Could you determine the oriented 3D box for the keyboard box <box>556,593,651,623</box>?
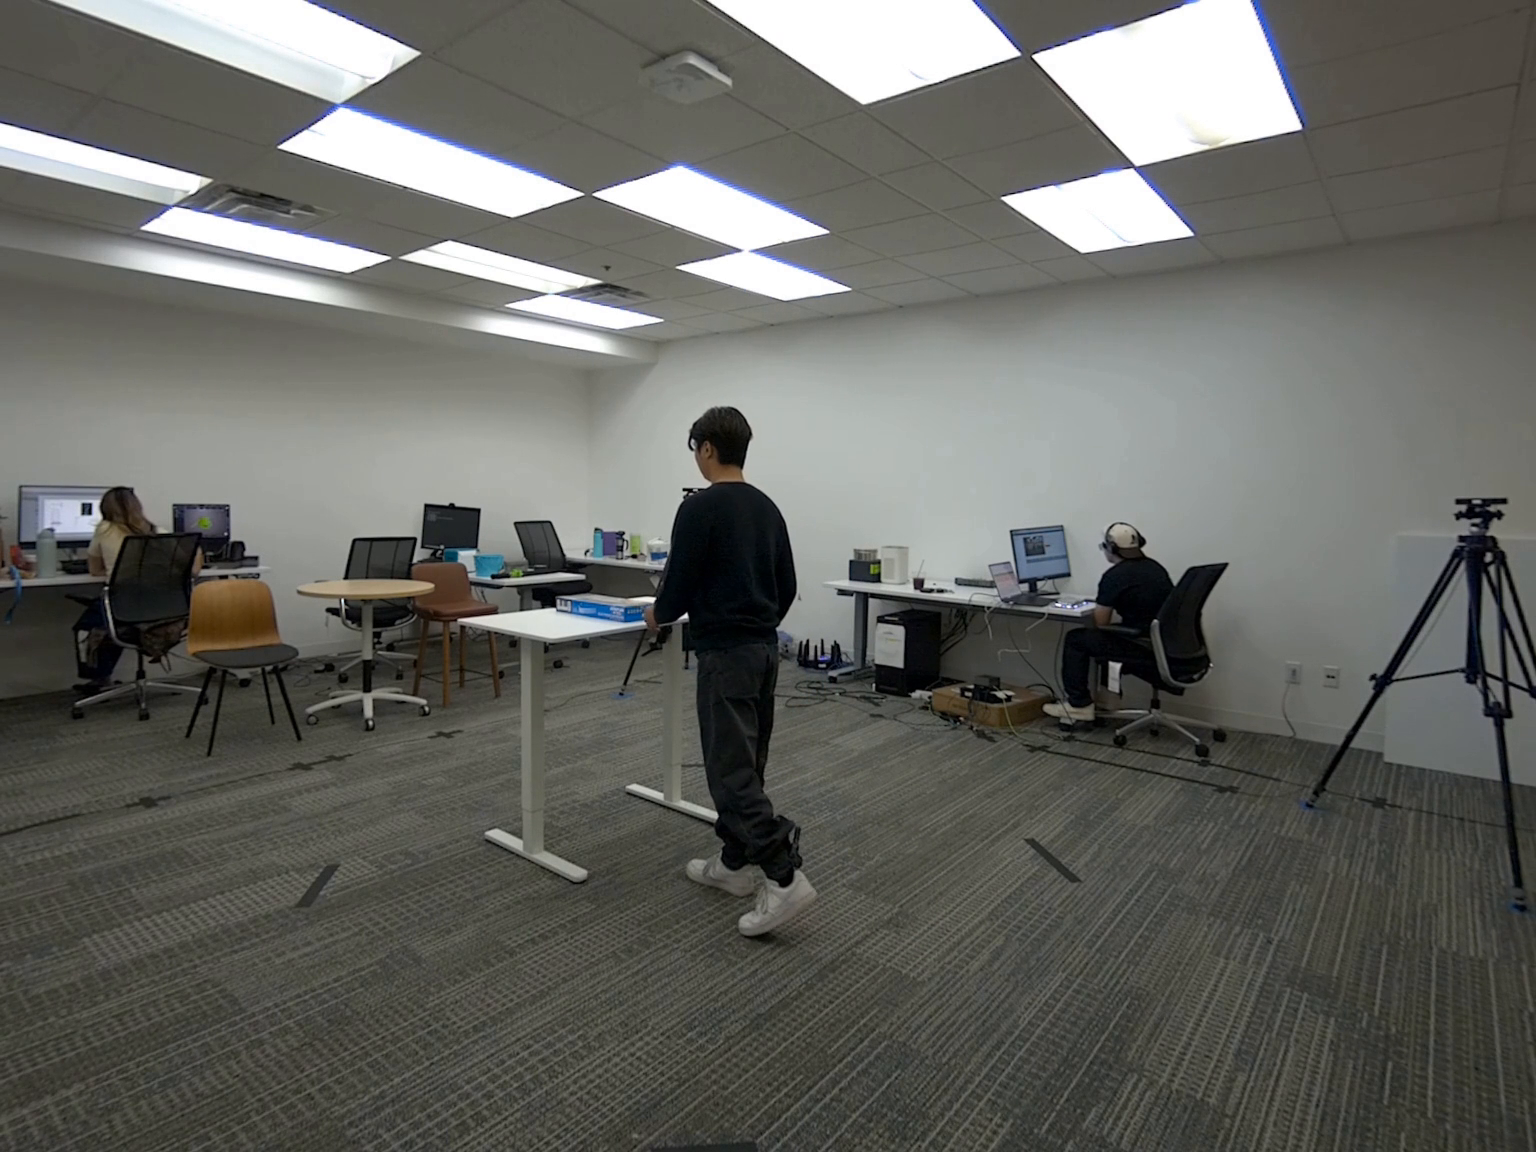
[{"bbox_3d":[-0.662,0.122,3.392,0.452,0.059,0.171,6,8,42],"label":"keyboard box"}]
